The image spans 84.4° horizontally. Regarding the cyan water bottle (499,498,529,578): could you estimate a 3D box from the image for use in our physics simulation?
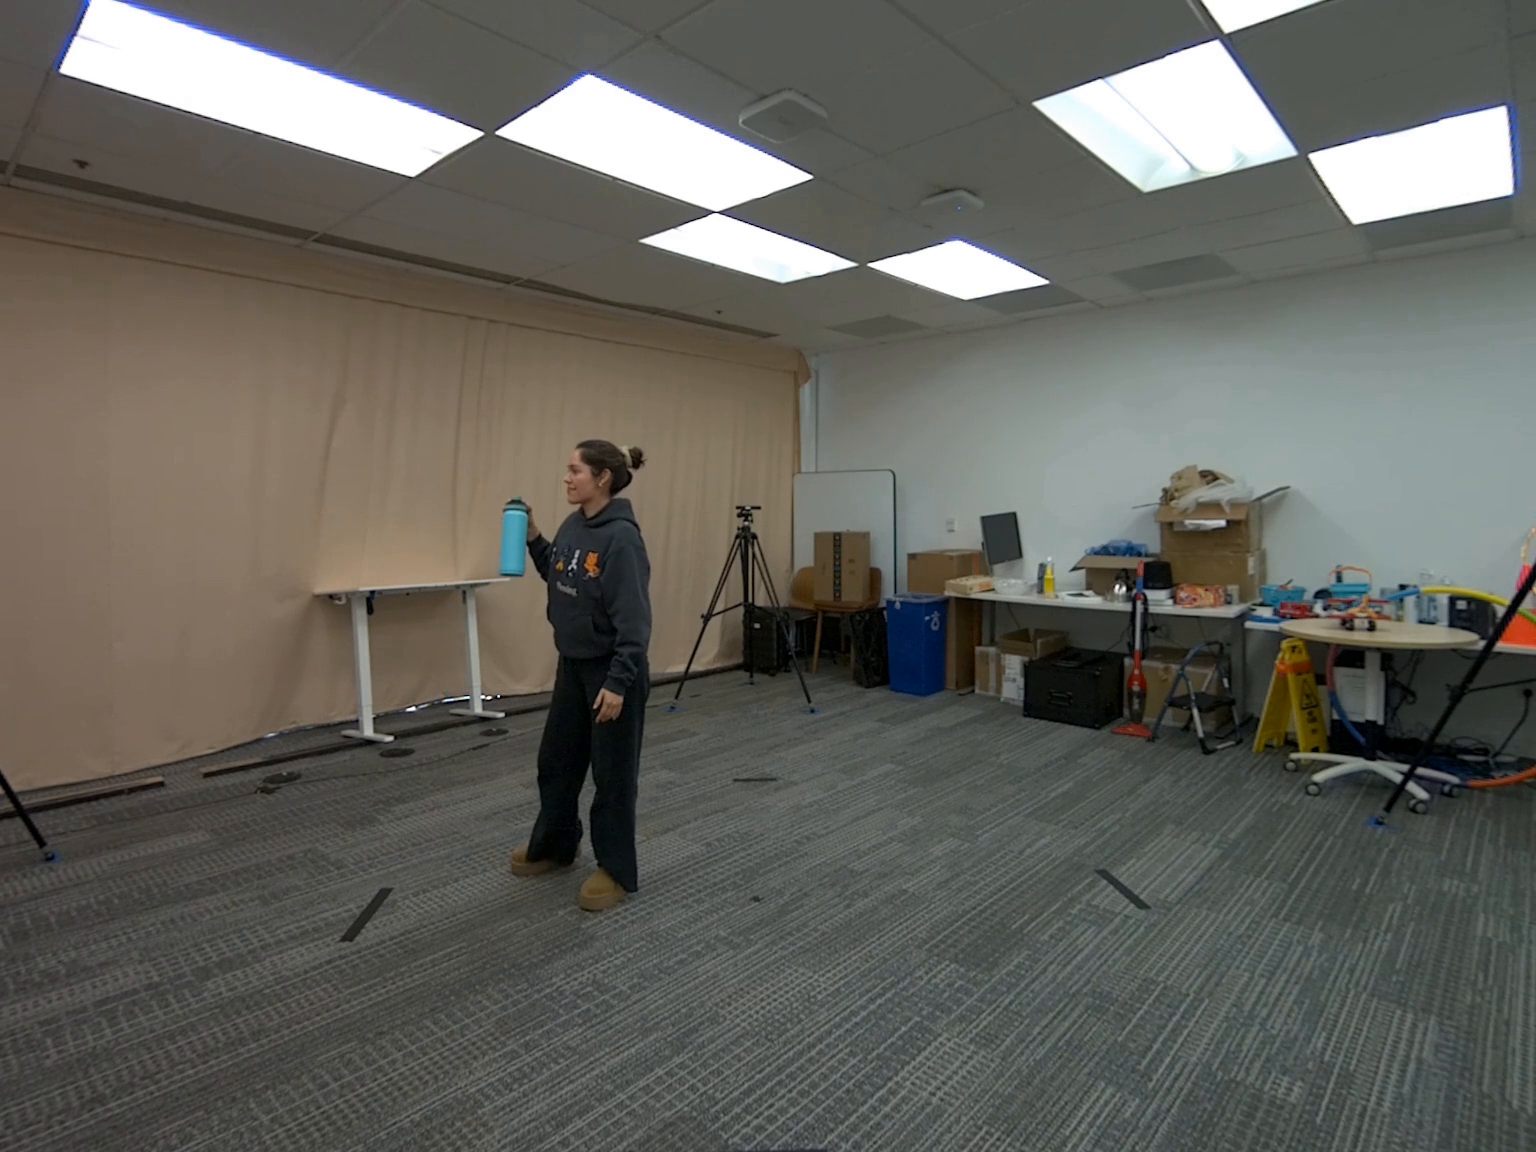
[{"bbox_3d":[-0.901,-0.129,3.021,0.092,0.285,0.092,0,-10,-2],"label":"cyan water bottle"}]
